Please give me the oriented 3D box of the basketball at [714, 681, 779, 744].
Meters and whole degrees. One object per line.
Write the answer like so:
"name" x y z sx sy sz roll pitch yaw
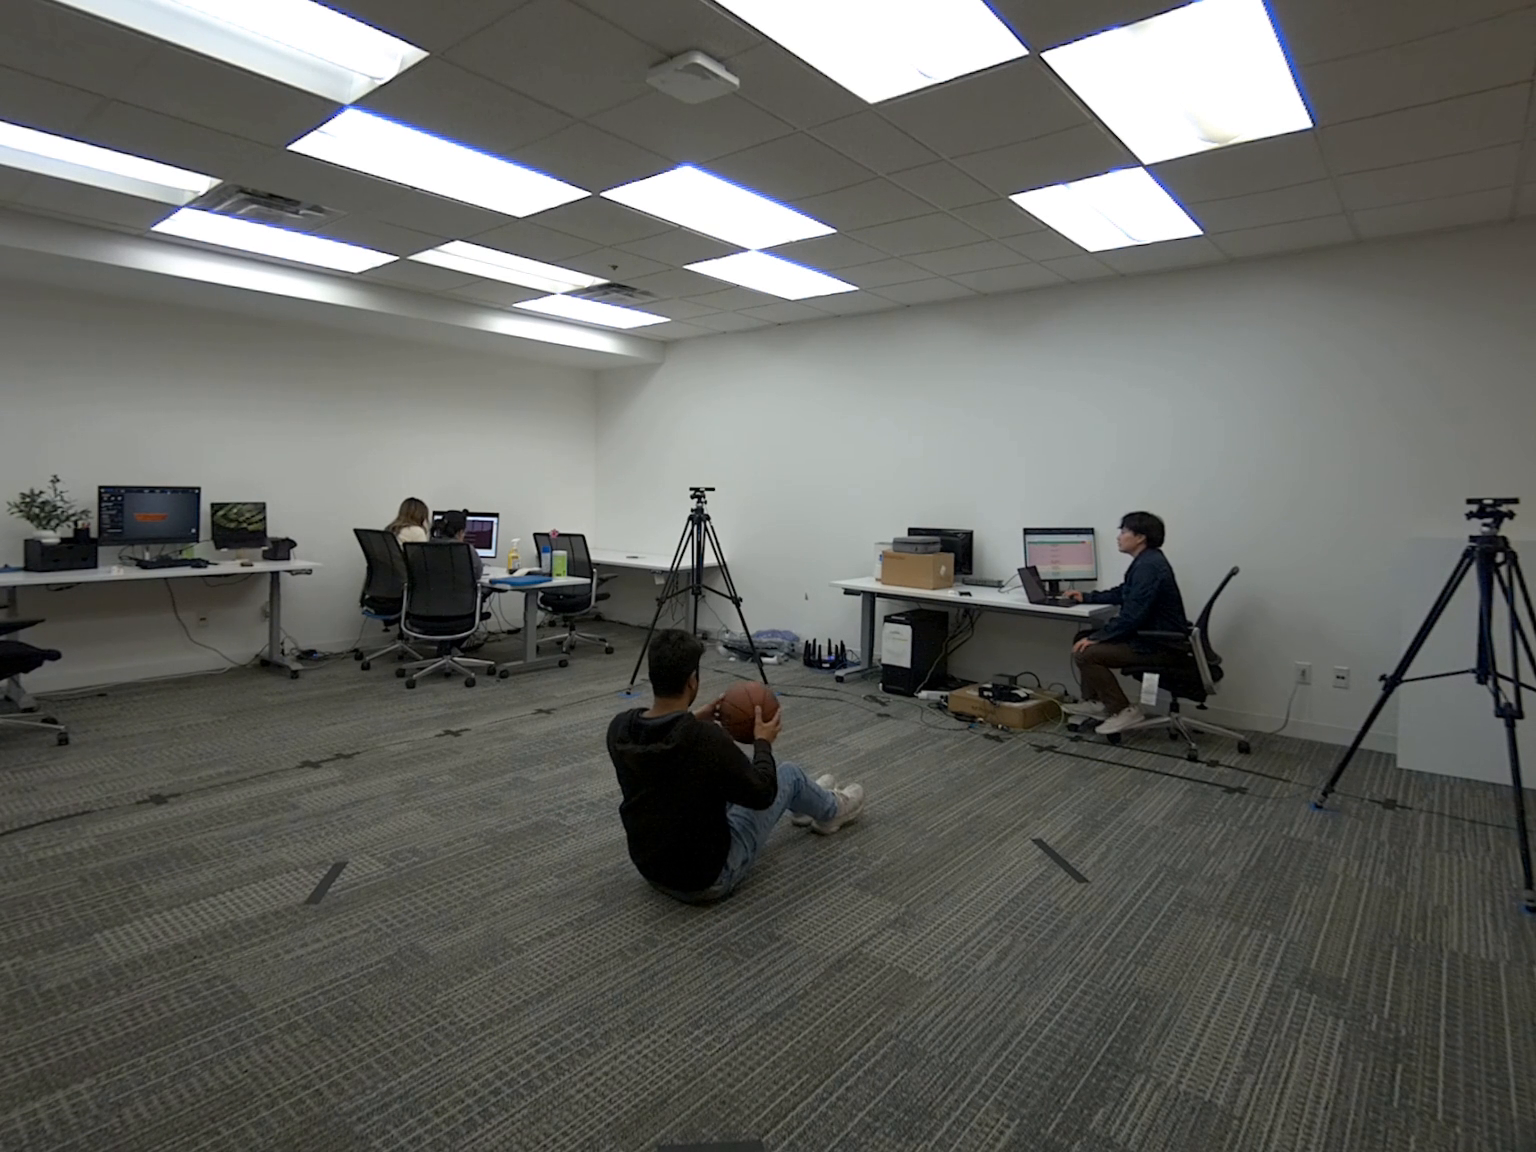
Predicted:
"basketball" -0.081 0.540 3.242 0.235 0.235 0.237 1 4 -2
